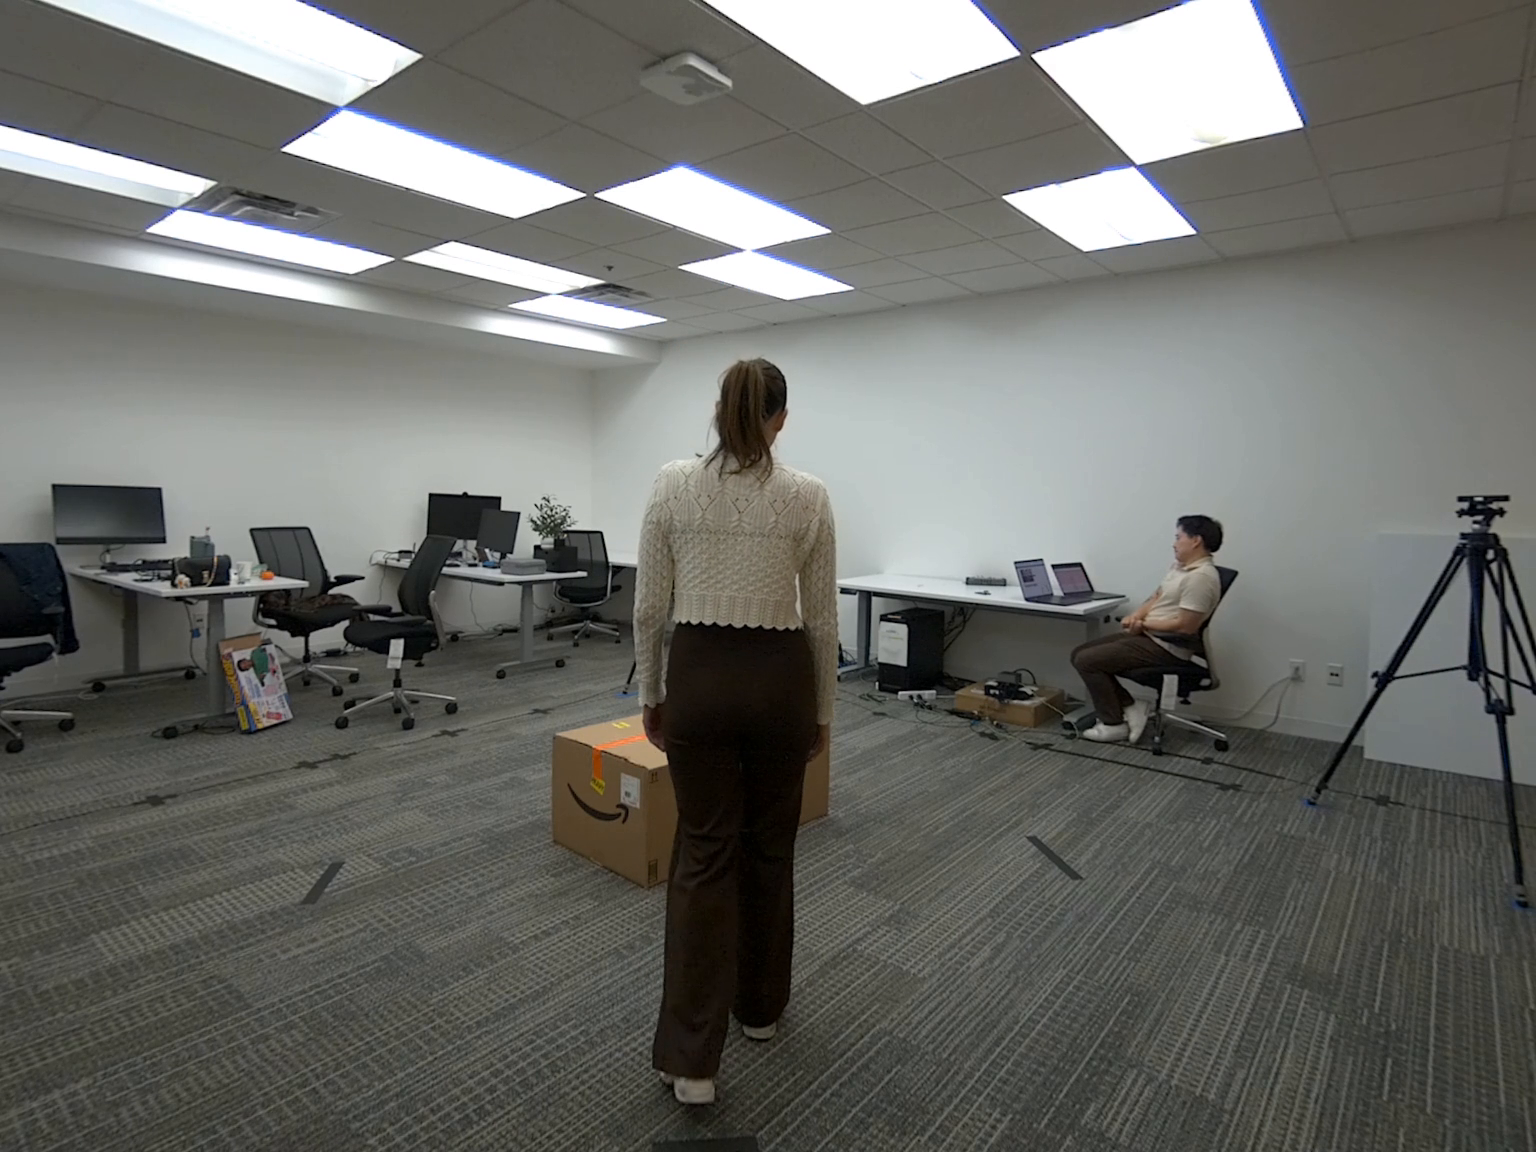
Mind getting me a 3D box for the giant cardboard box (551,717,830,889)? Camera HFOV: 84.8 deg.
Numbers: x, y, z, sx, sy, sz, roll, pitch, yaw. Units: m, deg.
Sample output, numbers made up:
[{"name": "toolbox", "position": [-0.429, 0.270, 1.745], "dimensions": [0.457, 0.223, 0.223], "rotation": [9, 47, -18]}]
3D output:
[{"name": "giant cardboard box", "position": [-0.300, 0.812, 3.478], "dimensions": [0.597, 0.425, 0.995], "rotation": [5, 6, 43]}]
